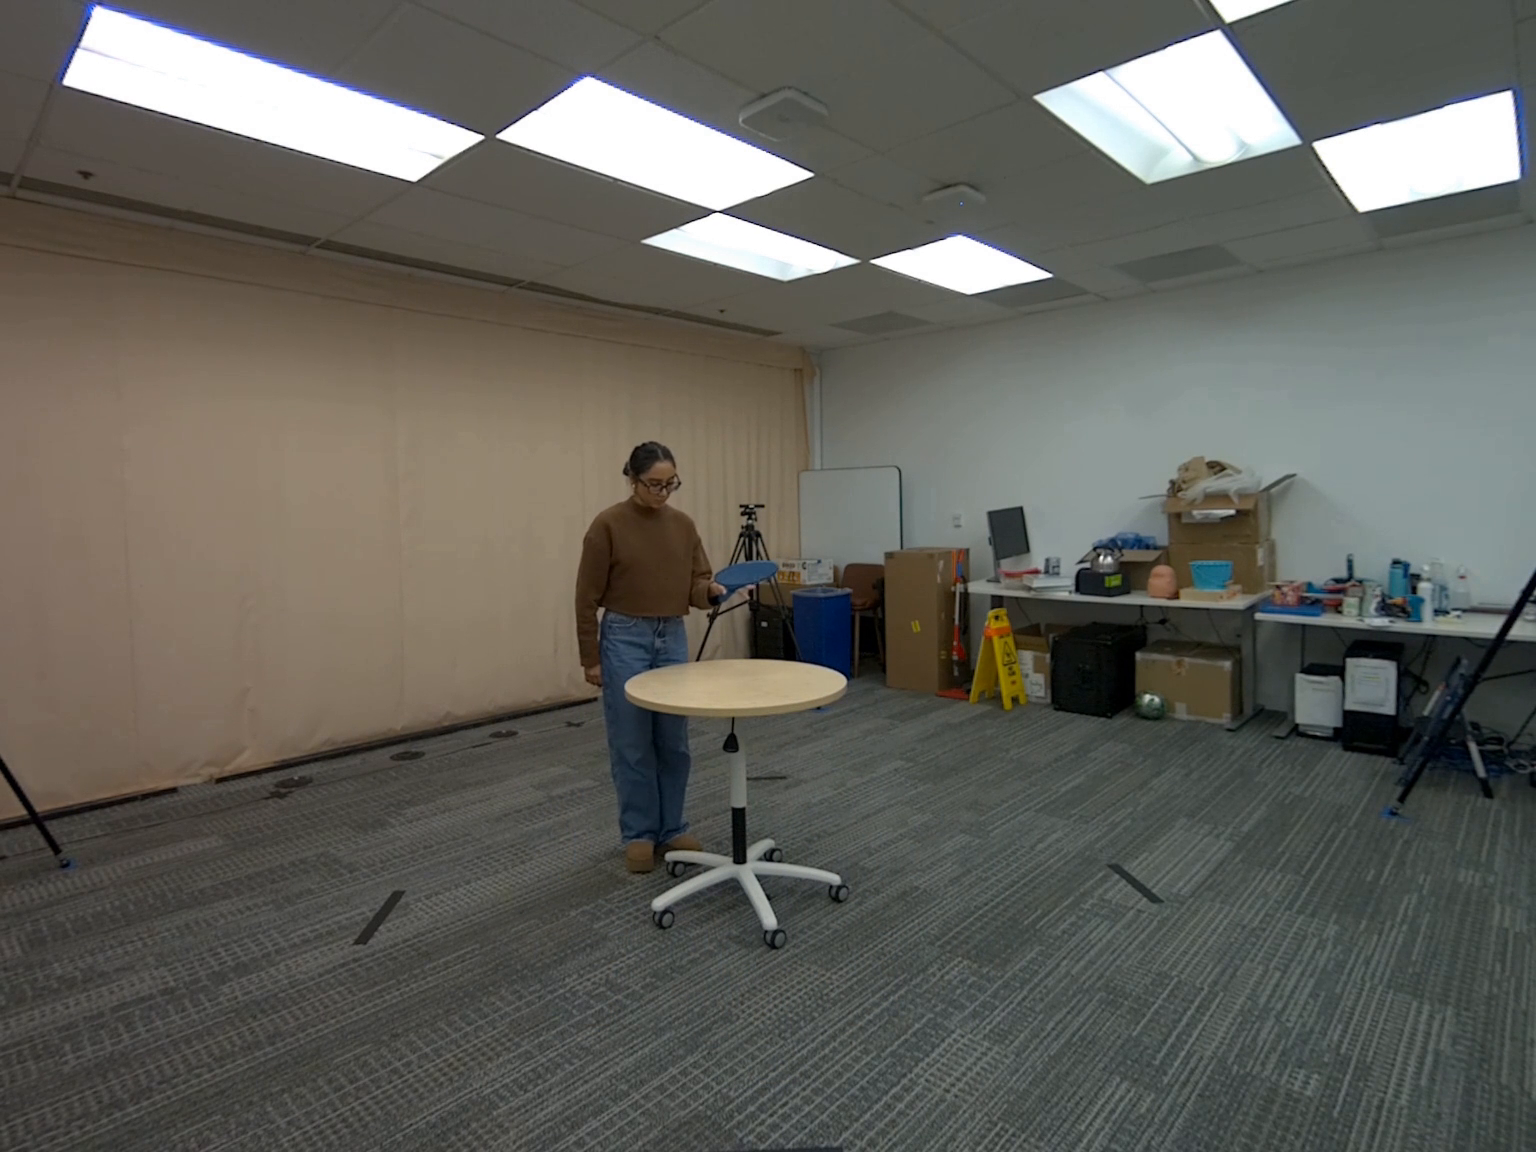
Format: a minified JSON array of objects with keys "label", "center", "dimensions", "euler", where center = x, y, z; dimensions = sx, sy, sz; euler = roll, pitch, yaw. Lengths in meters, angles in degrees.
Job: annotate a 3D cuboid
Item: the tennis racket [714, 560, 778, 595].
[{"label":"tennis racket","center":[-0.095,0.015,2.929],"dimensions":[0.210,0.032,0.435],"euler":[0,-16,-18]}]
